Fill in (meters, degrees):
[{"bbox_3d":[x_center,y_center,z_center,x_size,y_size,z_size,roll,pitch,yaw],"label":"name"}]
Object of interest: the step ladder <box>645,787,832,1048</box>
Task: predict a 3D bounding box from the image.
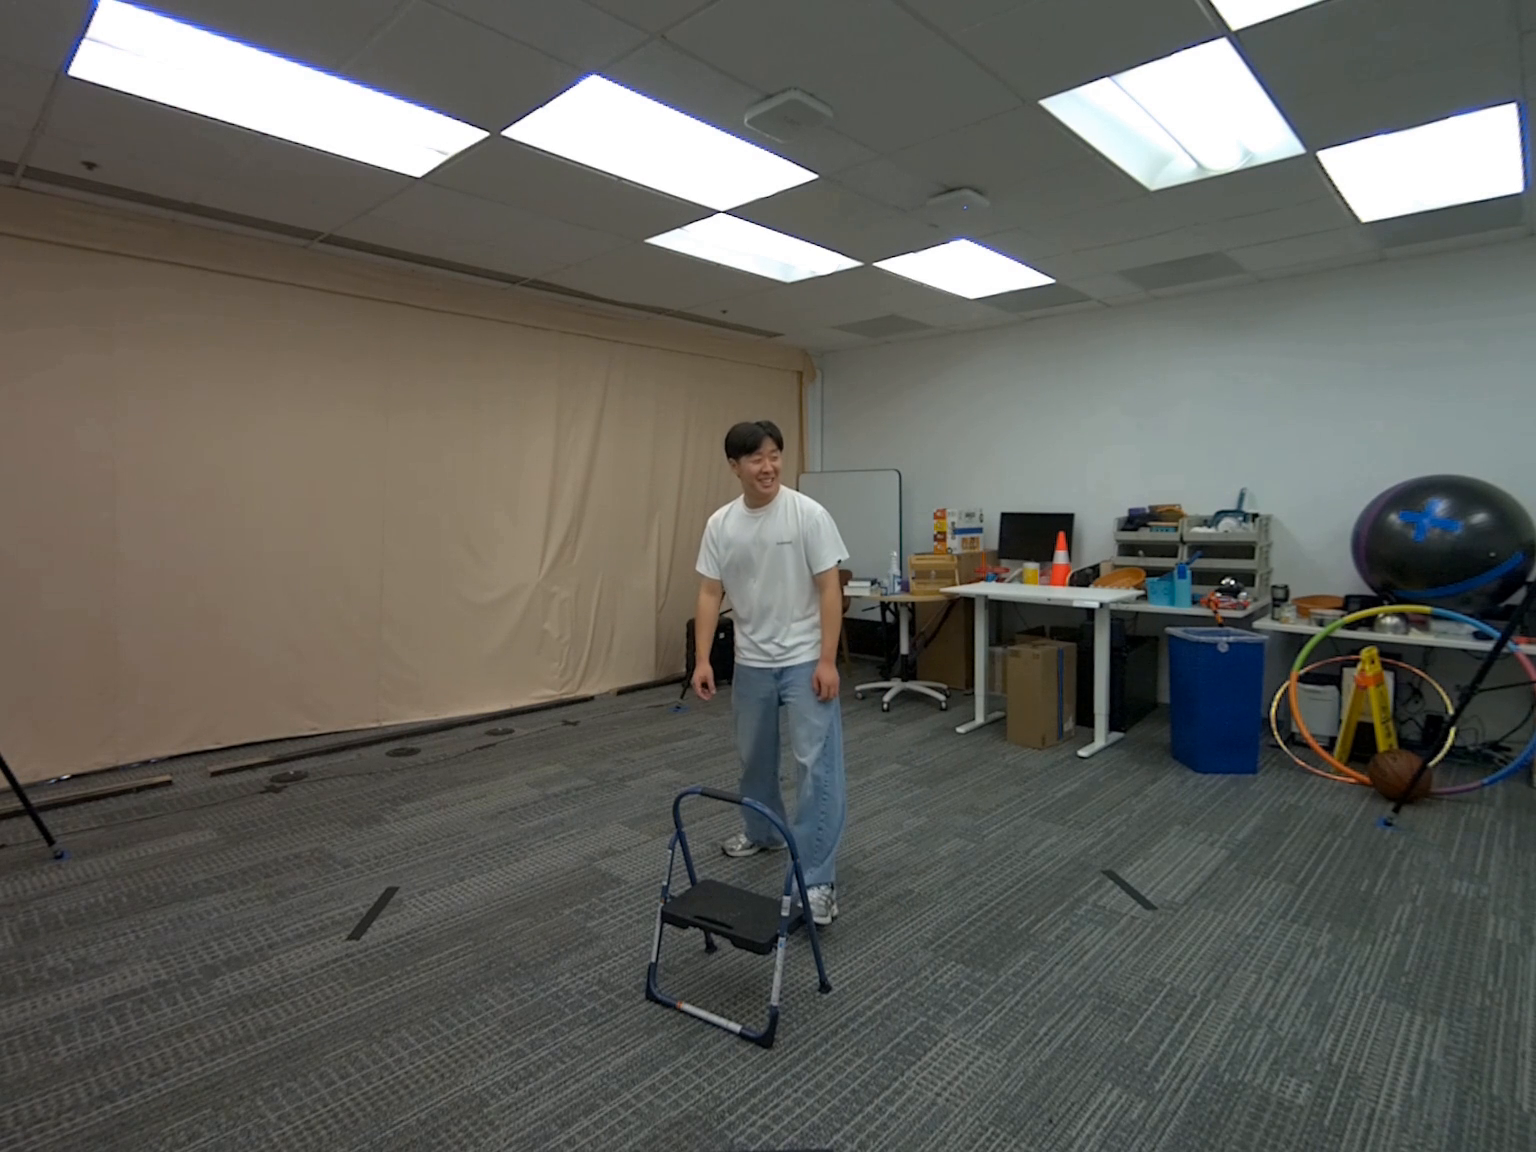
[{"bbox_3d":[-0.088,0.889,2.388,0.443,0.605,0.340,2,4,32],"label":"step ladder"}]
